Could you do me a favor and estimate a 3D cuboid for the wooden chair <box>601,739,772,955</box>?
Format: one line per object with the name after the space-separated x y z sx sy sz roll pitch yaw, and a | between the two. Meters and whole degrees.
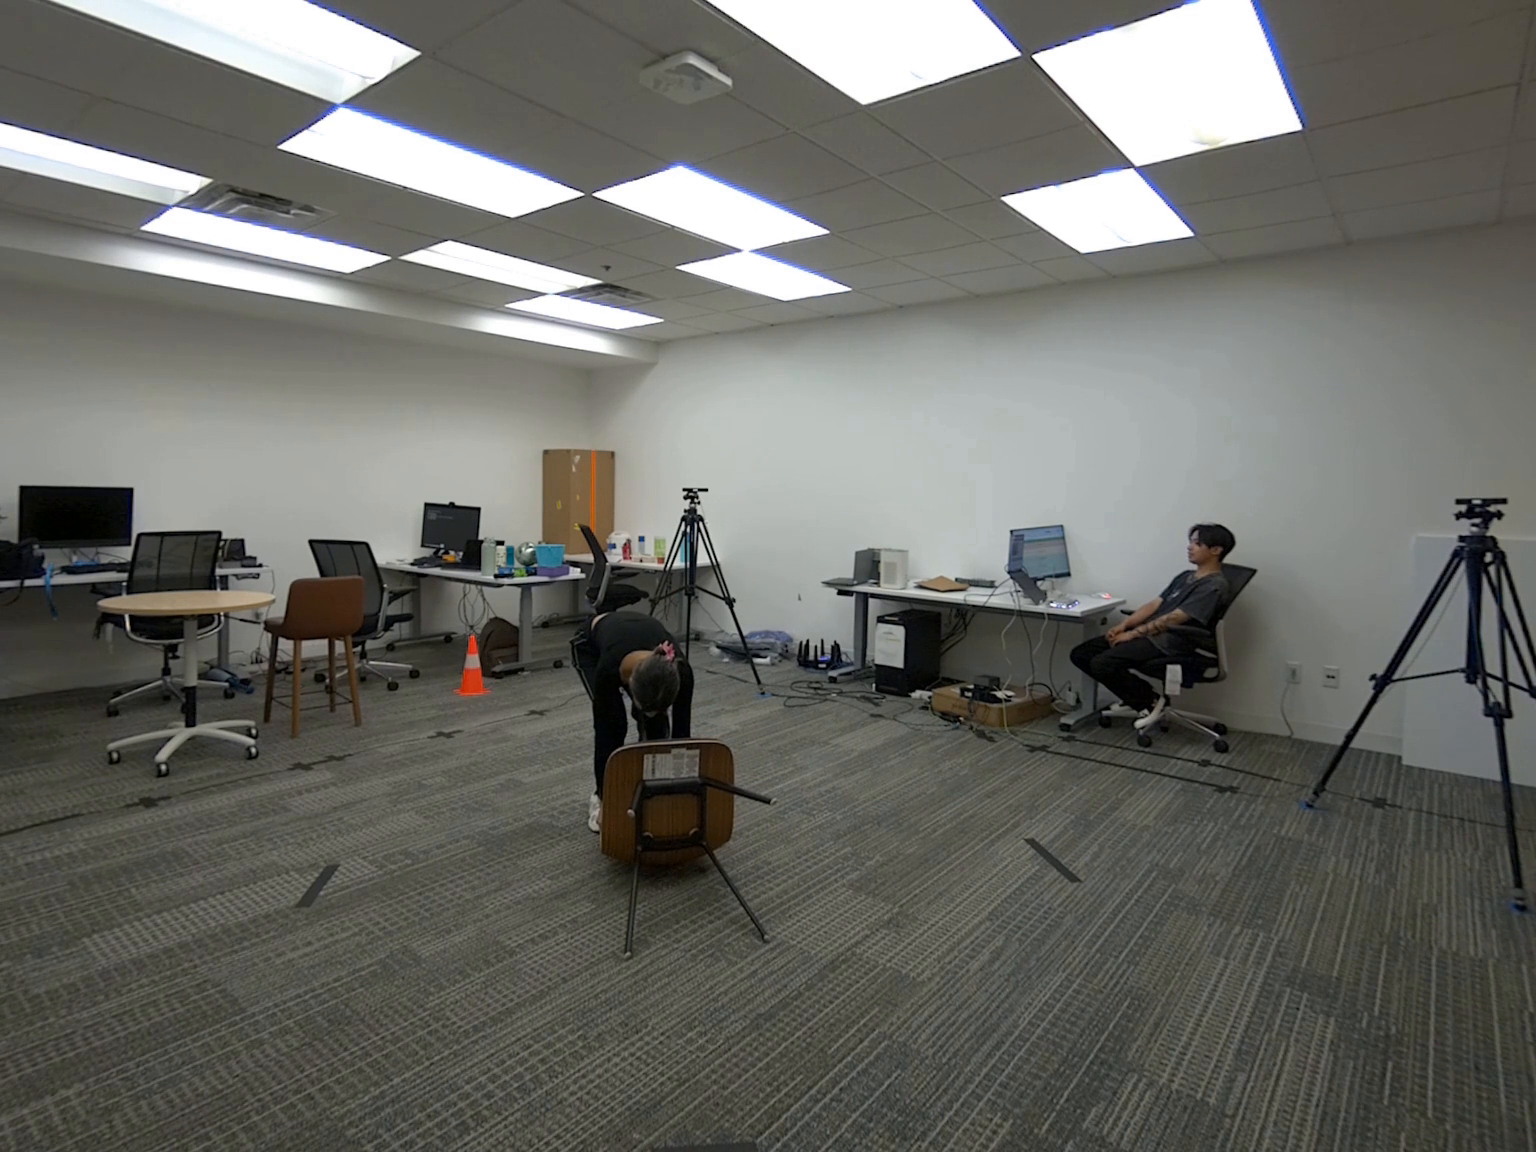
-0.343 0.817 2.946 0.470 0.521 0.896 -1 5 -18 | wooden chair
